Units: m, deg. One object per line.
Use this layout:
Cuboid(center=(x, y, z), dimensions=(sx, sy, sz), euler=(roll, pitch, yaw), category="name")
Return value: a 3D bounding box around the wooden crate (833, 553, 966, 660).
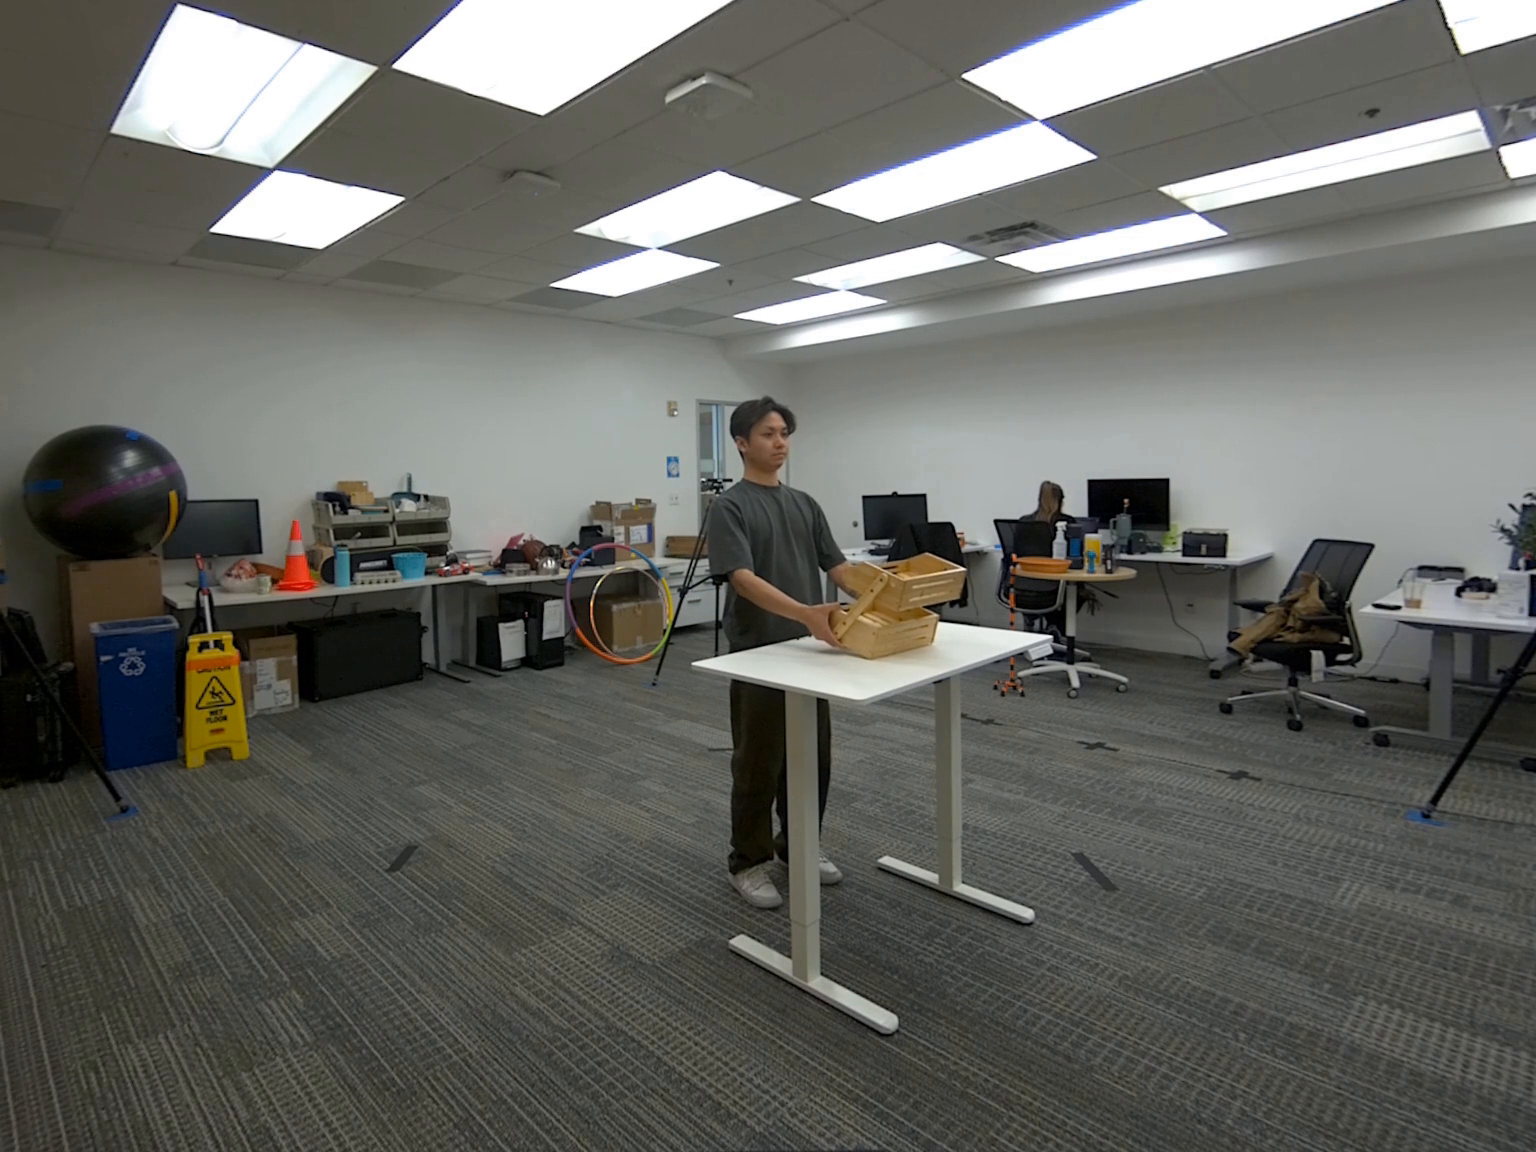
Cuboid(center=(0.359, 0.061, 2.533), dimensions=(0.316, 0.270, 0.313), euler=(-7, 24, -43), category="wooden crate")
